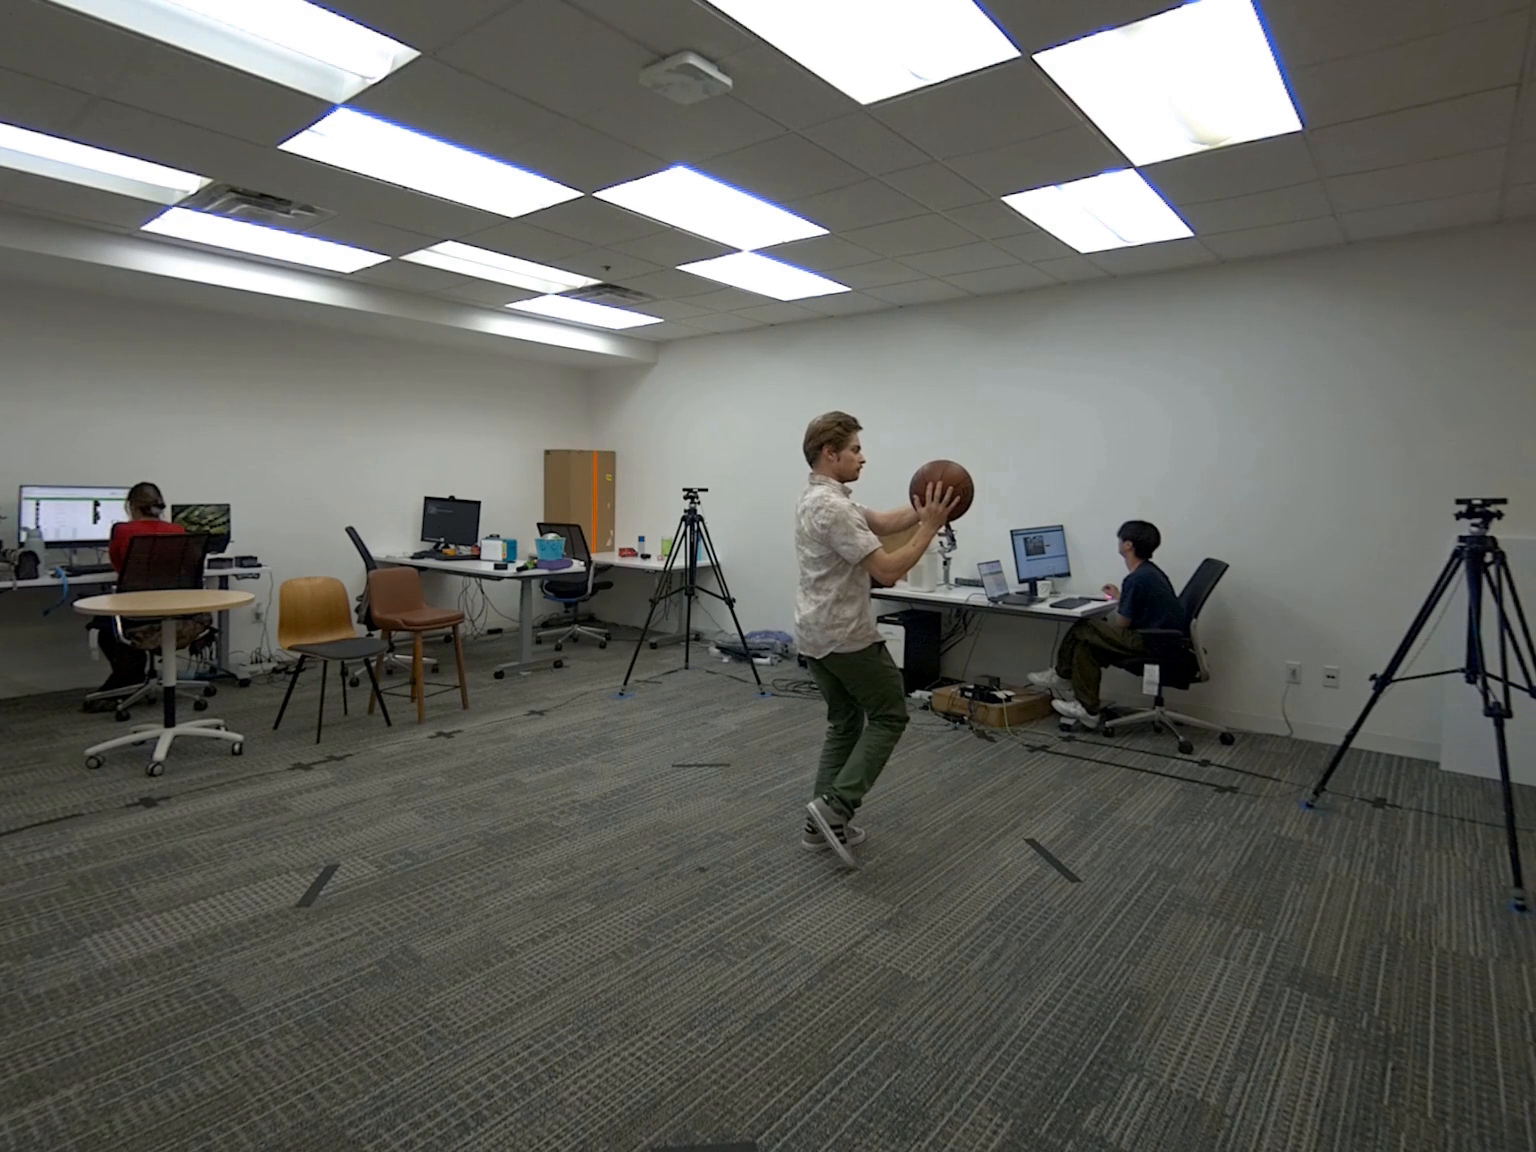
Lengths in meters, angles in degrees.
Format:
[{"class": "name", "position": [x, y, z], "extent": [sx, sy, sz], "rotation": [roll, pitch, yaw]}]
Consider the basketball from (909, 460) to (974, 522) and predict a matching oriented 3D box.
[{"class": "basketball", "position": [0.650, -0.327, 3.193], "extent": [0.235, 0.235, 0.237], "rotation": [1, 4, -2]}]
